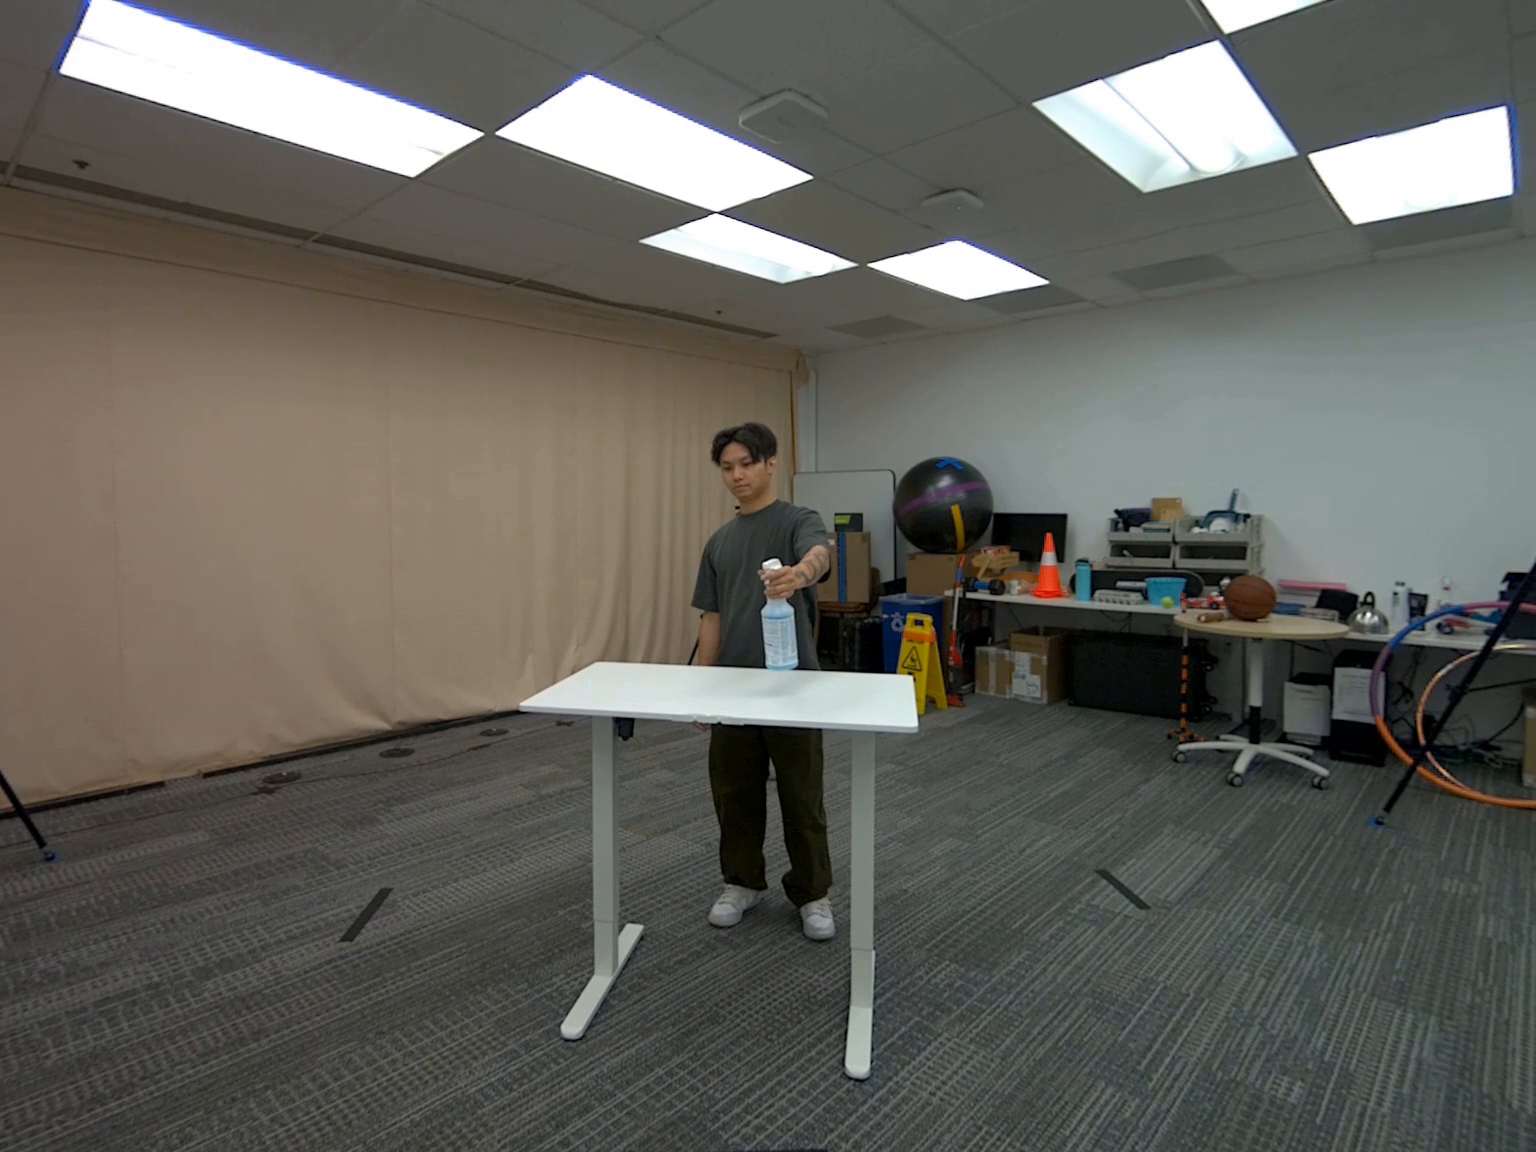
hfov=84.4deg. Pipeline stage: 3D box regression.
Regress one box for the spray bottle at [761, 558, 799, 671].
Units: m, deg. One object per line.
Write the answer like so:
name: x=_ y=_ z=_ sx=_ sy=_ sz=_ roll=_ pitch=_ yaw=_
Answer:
spray bottle: x=0.023 y=0.103 z=2.241 sx=0.088 sy=0.295 sz=0.090 roll=-13 pitch=14 yaw=-36
